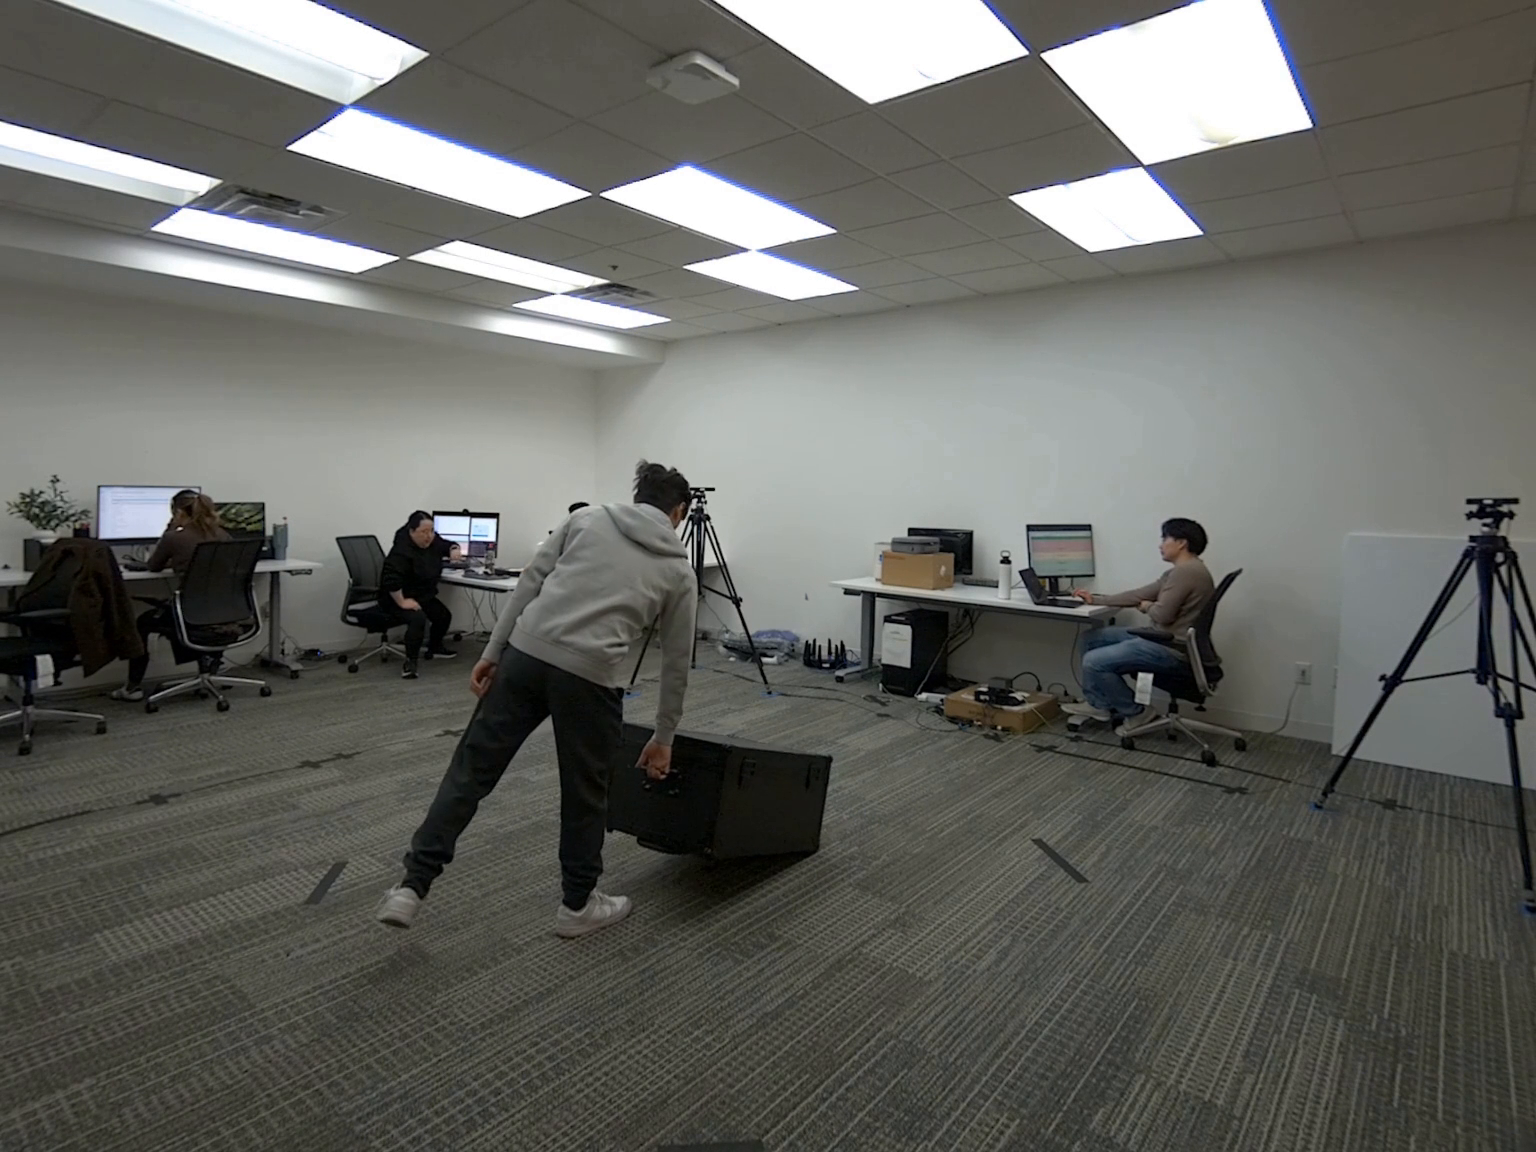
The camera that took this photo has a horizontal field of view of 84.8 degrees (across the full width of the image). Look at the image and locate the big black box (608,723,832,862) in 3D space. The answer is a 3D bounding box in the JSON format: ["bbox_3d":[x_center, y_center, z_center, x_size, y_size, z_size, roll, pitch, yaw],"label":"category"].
[{"bbox_3d":[-0.189,0.785,3.114,0.537,0.399,0.829,3,-11,32],"label":"big black box"}]
